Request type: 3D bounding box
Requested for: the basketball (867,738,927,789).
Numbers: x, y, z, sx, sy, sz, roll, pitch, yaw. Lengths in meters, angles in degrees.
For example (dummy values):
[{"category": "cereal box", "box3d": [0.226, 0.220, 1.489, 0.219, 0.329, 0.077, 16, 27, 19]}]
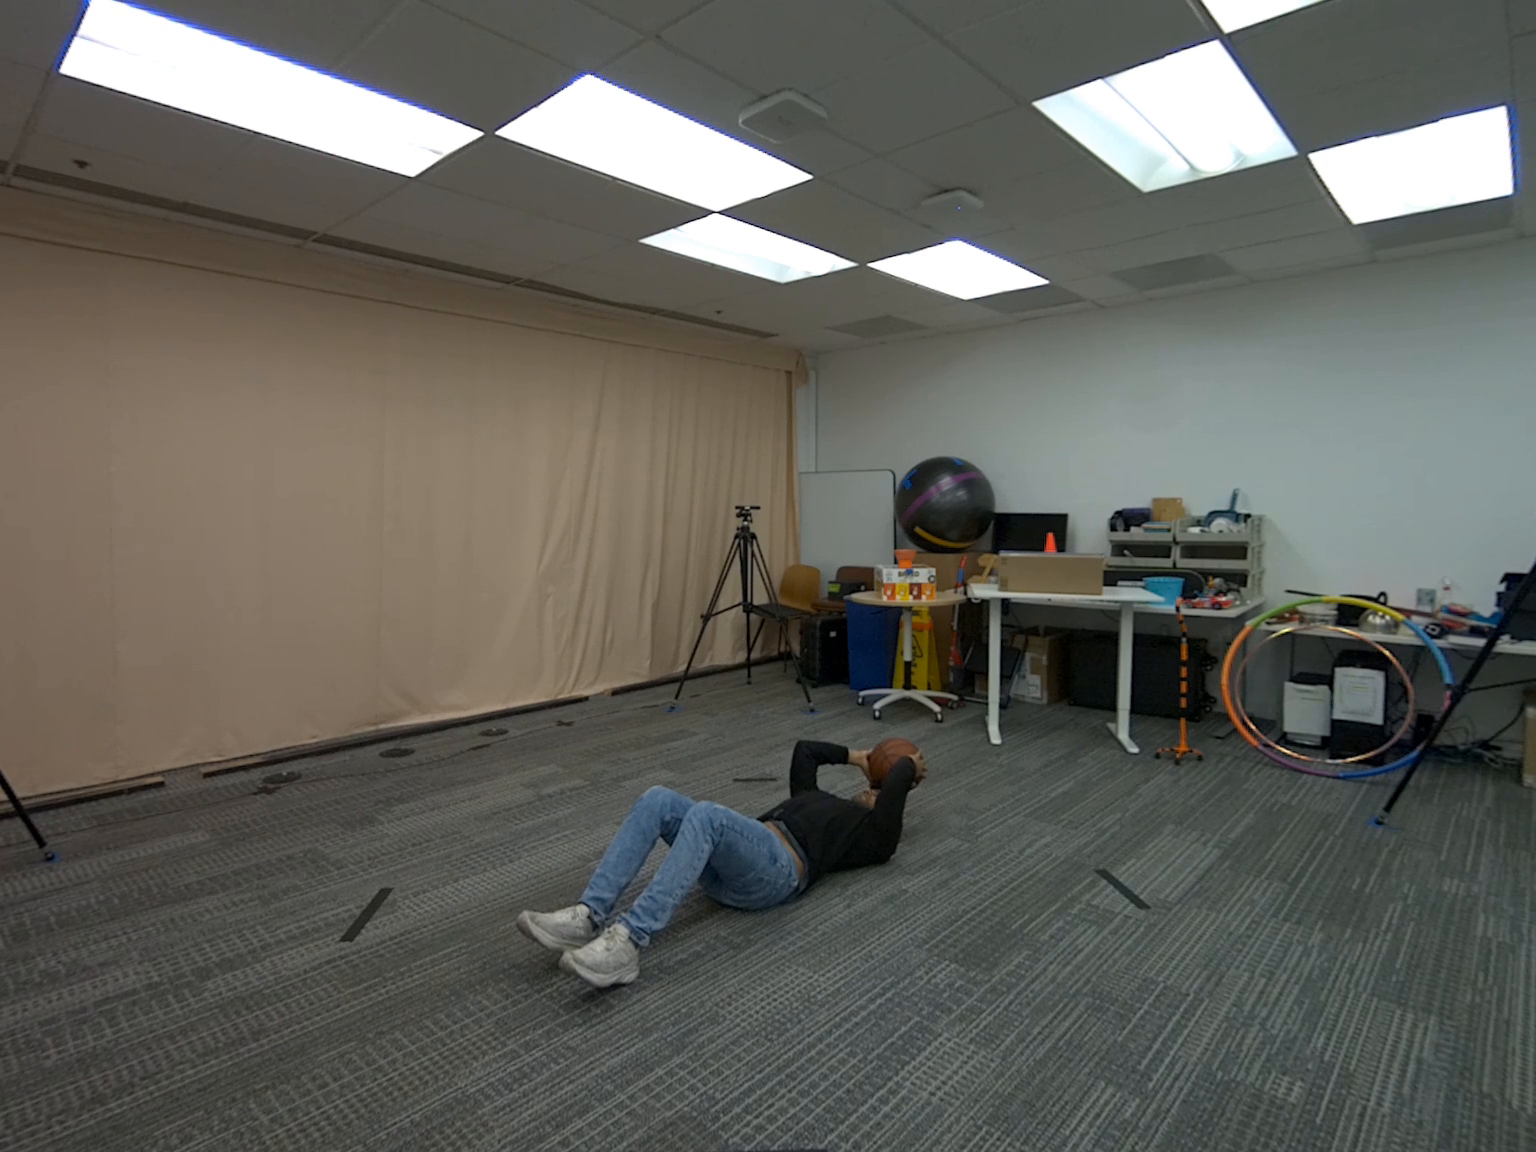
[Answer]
[{"category": "basketball", "box3d": [0.557, 0.820, 3.666, 0.236, 0.235, 0.237, 0, 4, -2]}]
